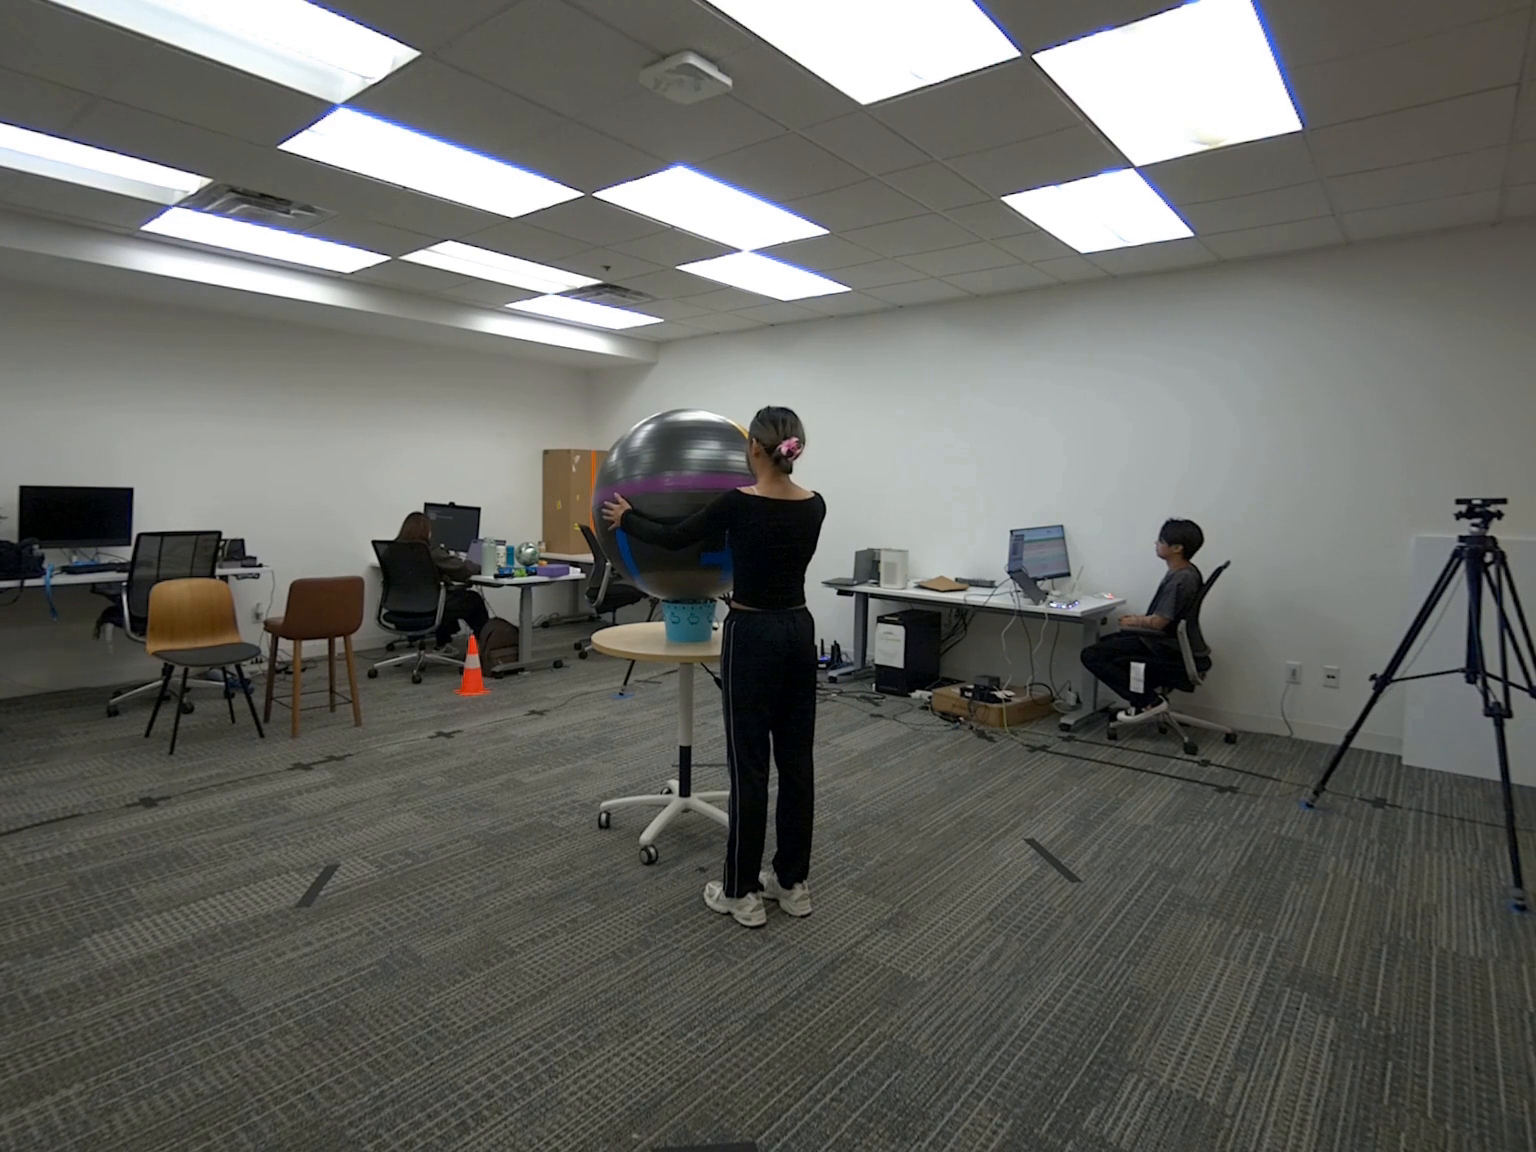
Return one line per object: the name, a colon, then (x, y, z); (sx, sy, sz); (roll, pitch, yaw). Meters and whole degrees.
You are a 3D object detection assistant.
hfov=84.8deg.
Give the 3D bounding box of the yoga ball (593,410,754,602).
yoga ball: (-0.326, -0.278, 3.377); (0.757, 0.756, 0.762); (1, 4, -2)
